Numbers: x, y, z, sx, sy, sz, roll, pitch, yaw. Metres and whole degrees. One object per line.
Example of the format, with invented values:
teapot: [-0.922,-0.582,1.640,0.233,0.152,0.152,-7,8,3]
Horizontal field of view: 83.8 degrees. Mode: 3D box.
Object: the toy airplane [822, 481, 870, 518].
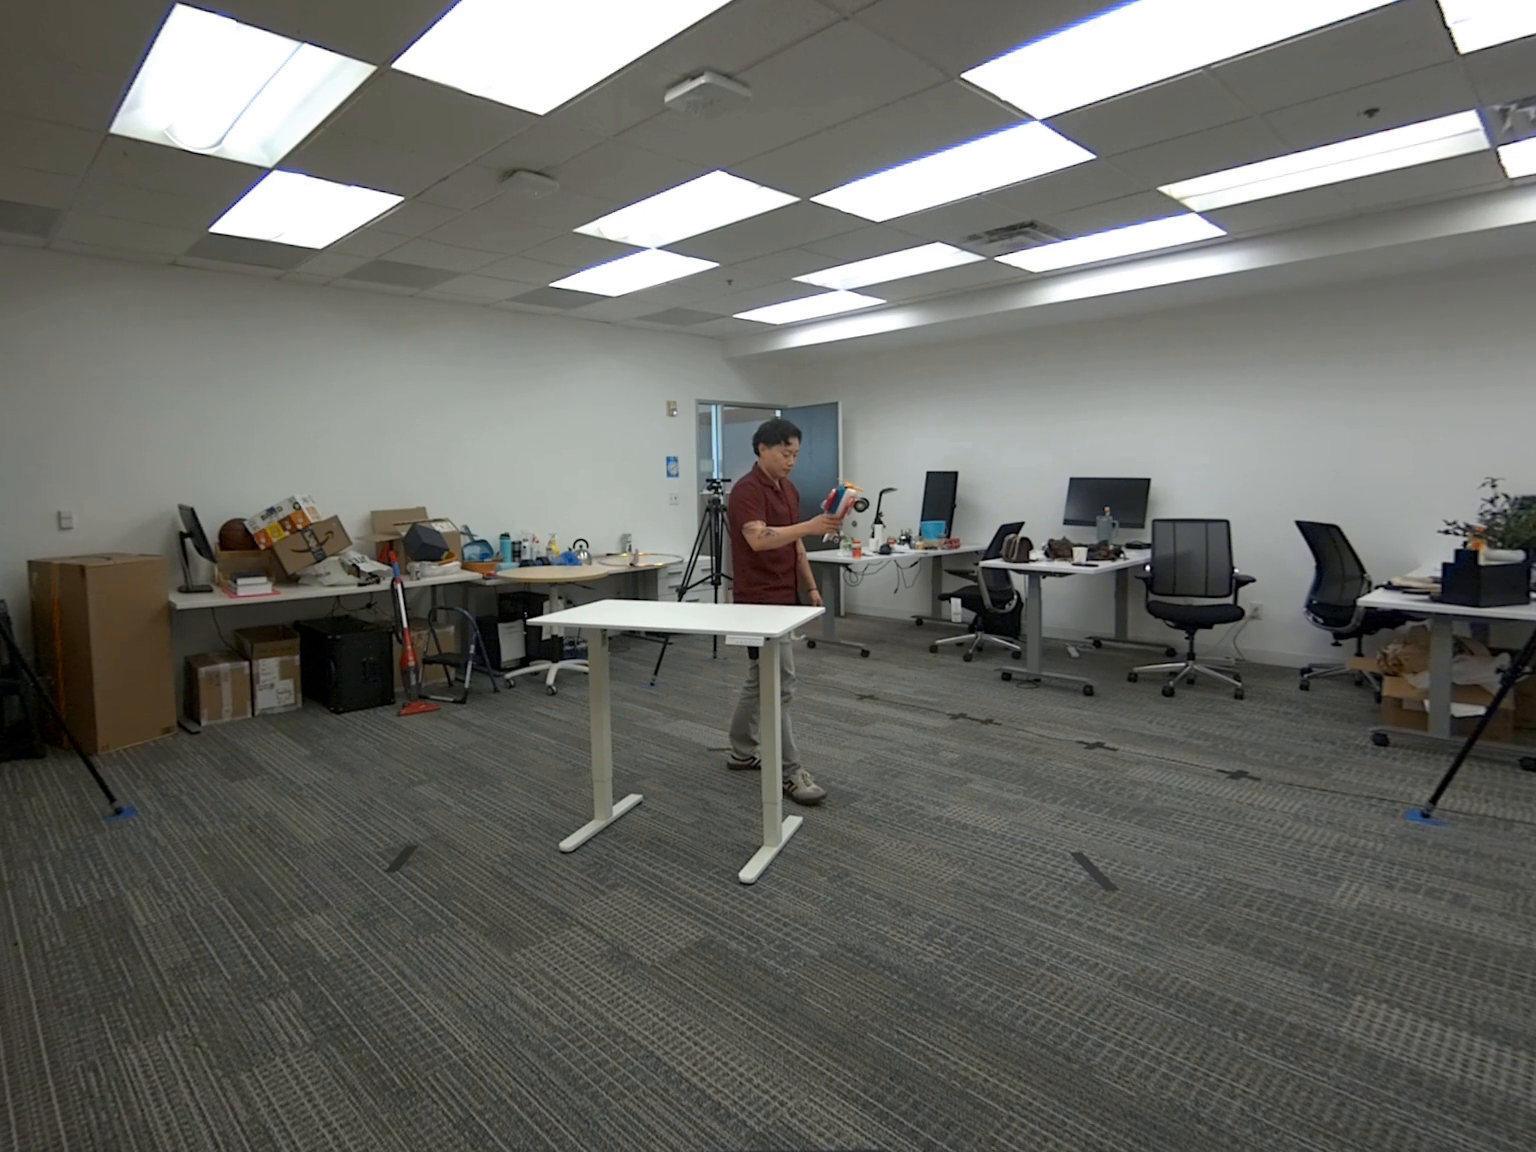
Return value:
toy airplane: [0.297,-0.263,3.516,0.158,0.259,0.249,39,-12,4]
